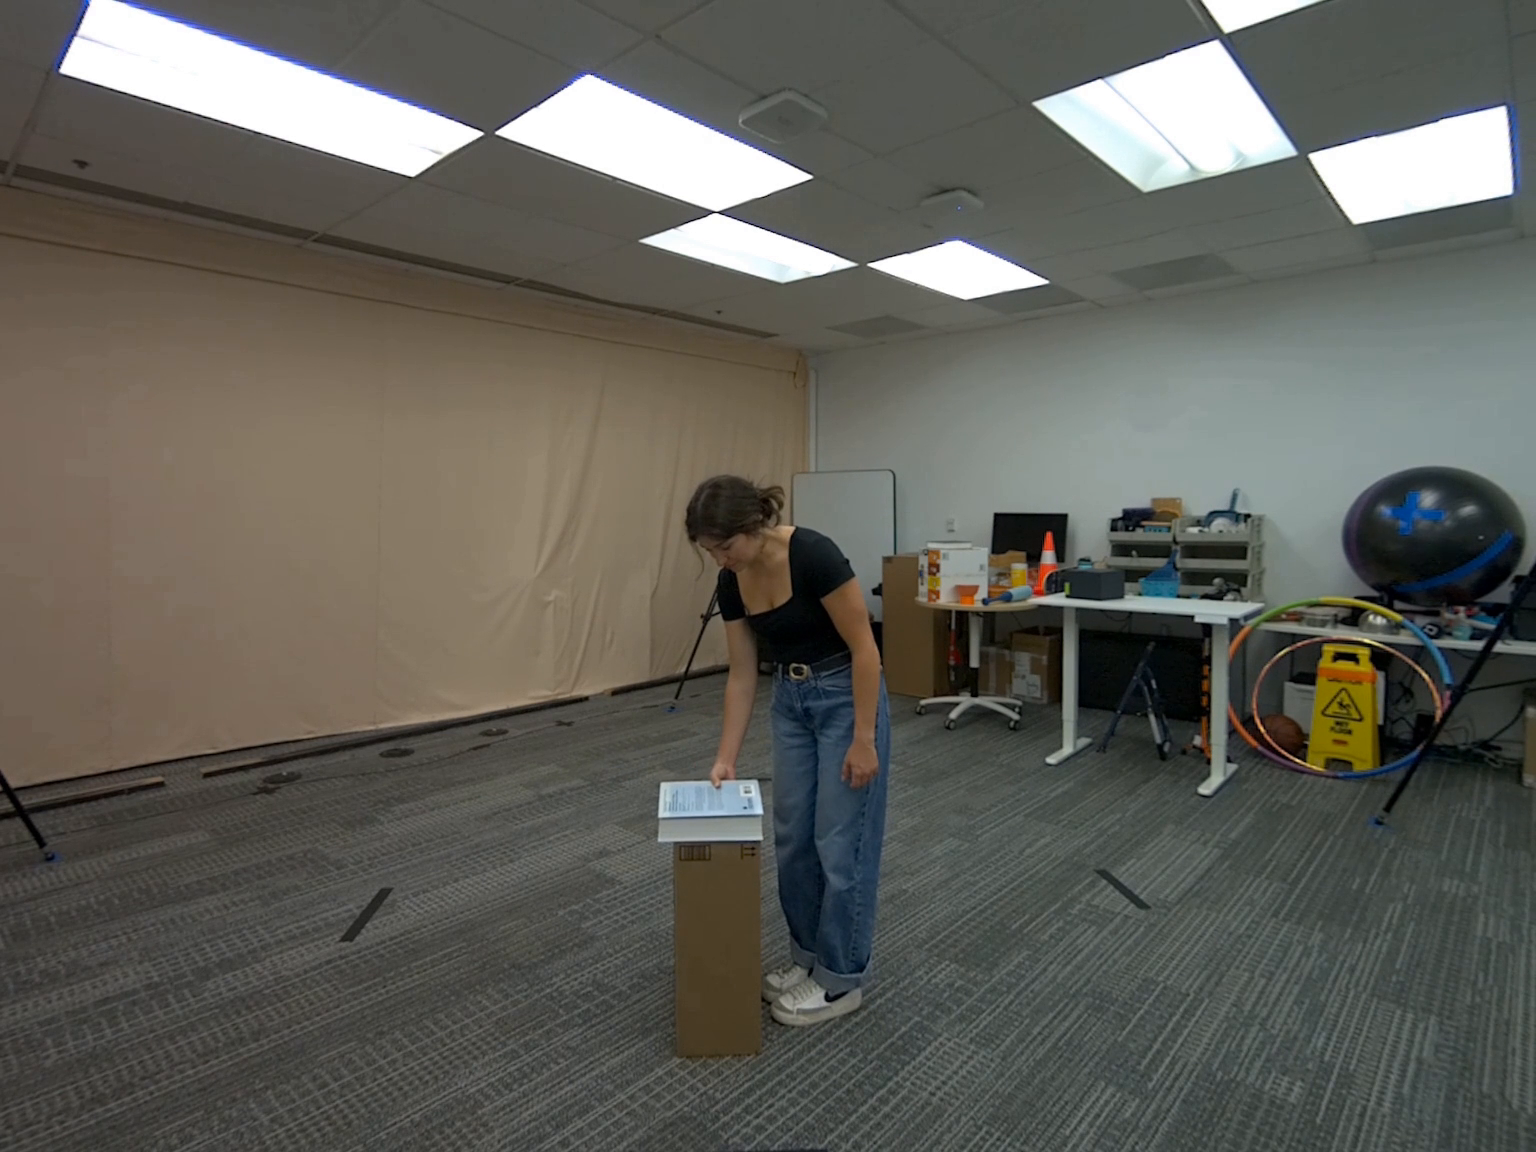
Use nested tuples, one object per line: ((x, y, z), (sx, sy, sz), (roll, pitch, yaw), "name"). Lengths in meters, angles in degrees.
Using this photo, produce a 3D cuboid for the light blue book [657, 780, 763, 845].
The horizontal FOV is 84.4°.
((-0.142, 0.608, 2.156), (0.261, 0.058, 0.193), (-2, 12, -1), "light blue book")
